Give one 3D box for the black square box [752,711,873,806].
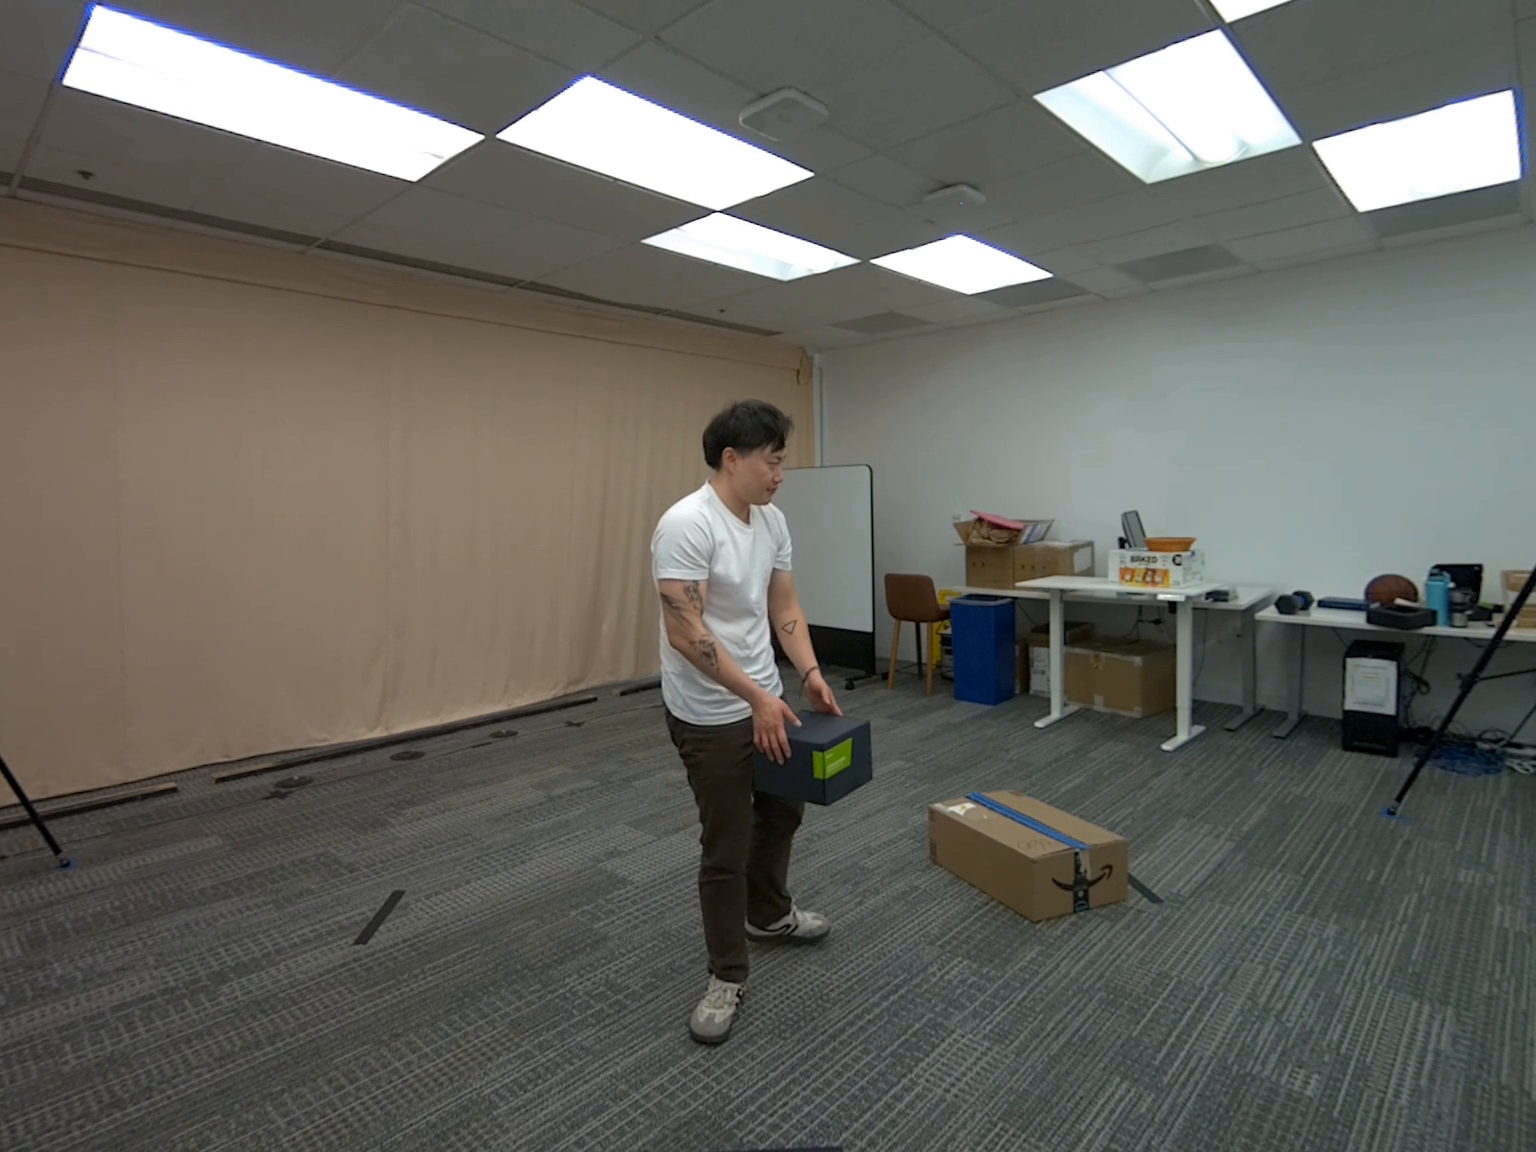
[{"bbox_3d":[0.116,0.457,2.149,0.224,0.155,0.221,2,8,38],"label":"black square box"}]
